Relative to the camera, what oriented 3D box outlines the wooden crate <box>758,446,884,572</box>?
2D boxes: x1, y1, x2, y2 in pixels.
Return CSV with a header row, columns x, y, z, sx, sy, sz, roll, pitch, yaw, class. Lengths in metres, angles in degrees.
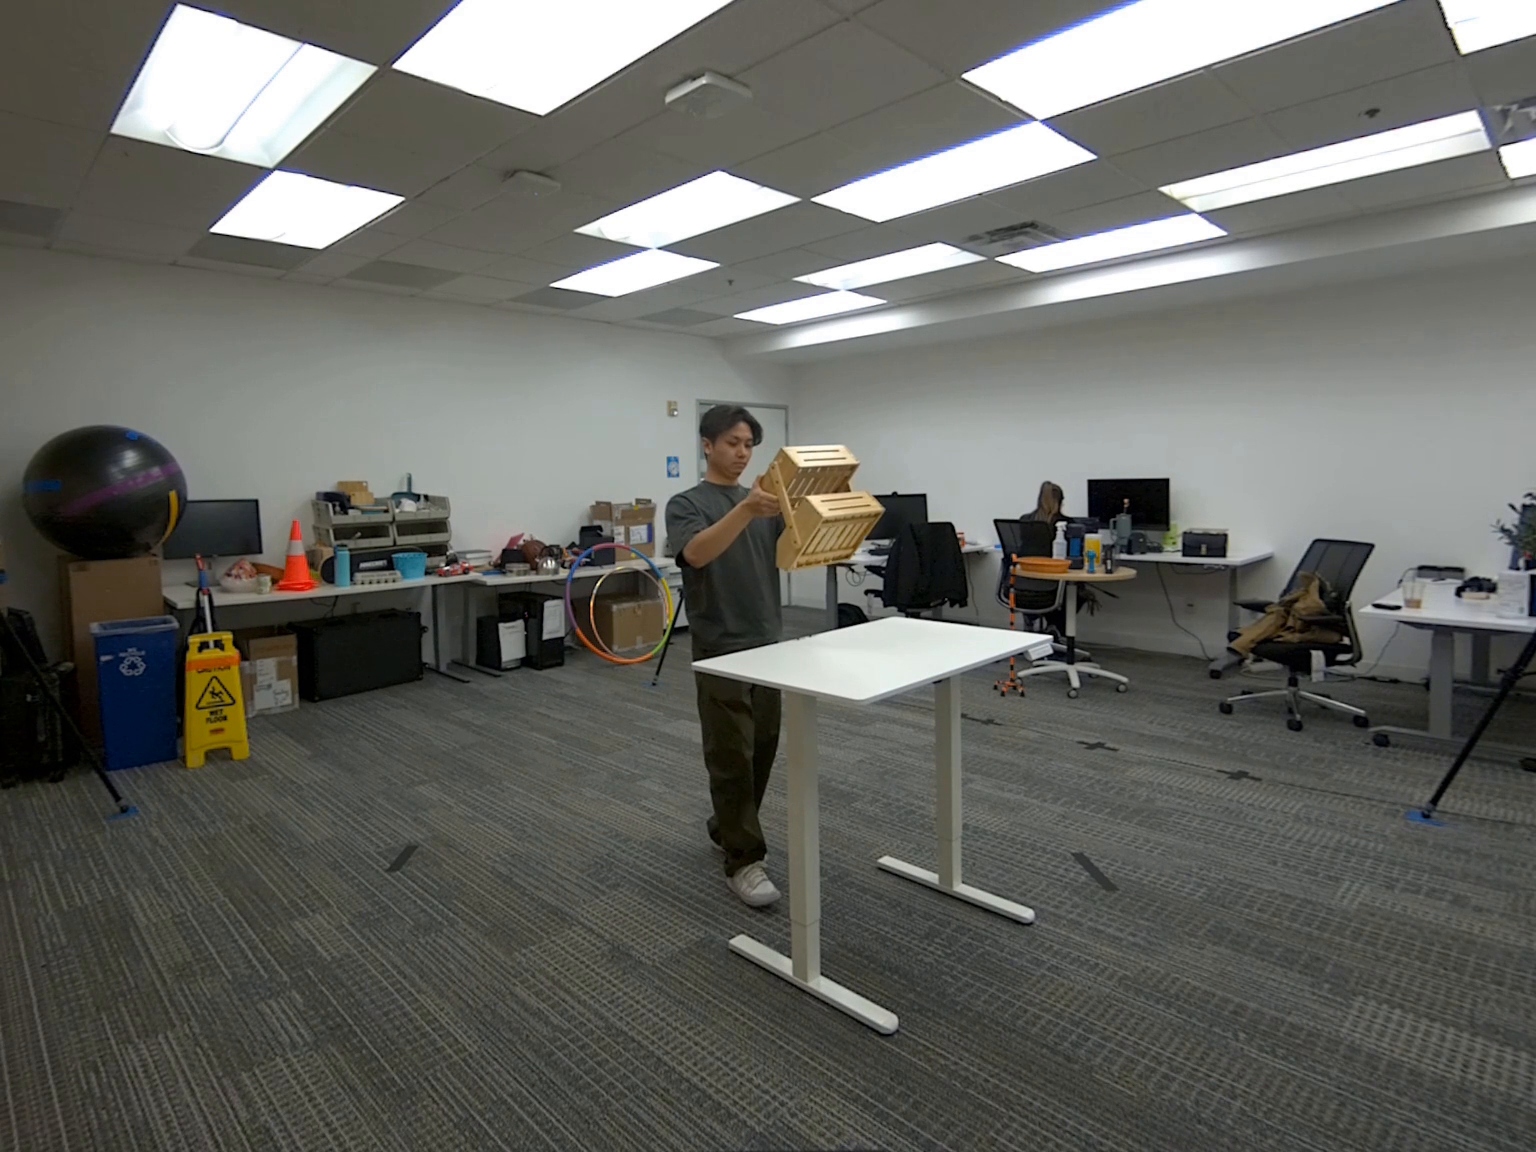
x,y,z,sx,sy,sz,roll,pitch,yaw,class
0.146,-0.217,2.709,0.316,0.300,0.282,-9,51,-44,wooden crate
